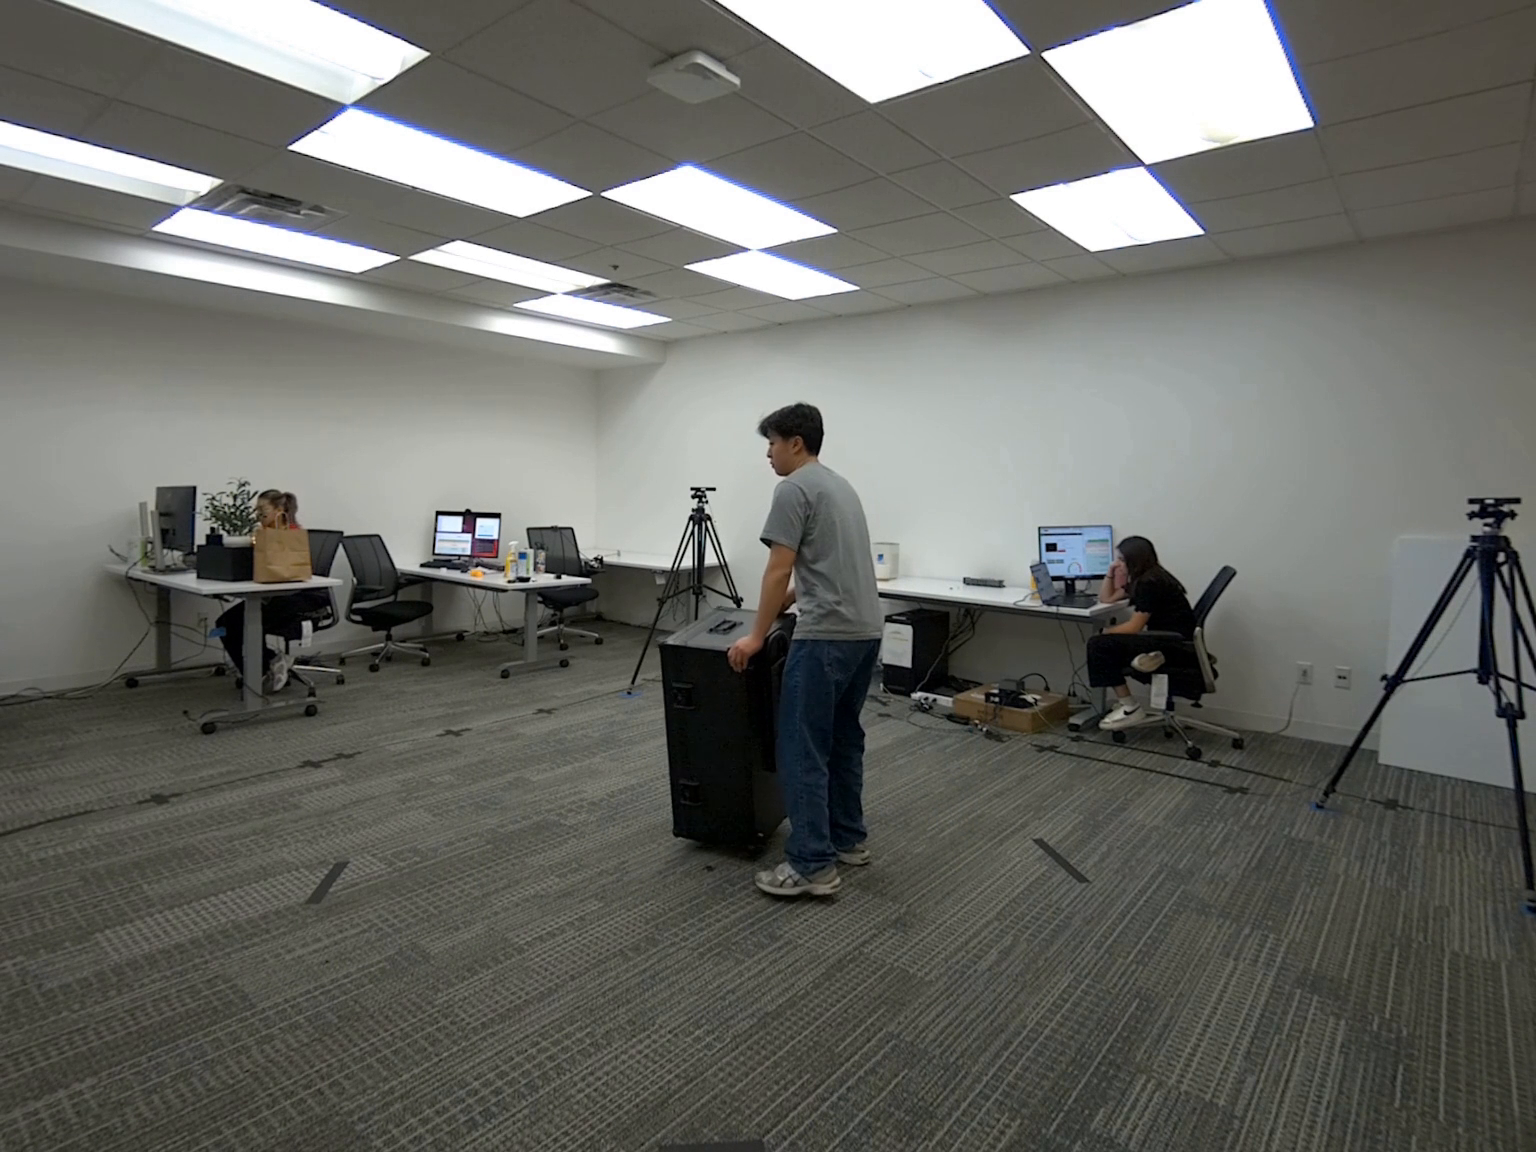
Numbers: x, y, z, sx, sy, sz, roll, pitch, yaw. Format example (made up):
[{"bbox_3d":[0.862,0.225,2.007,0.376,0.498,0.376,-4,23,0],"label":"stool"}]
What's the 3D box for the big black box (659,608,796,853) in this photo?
[{"bbox_3d":[-0.124,0.607,3.327,0.407,0.851,0.514,4,14,26],"label":"big black box"}]
